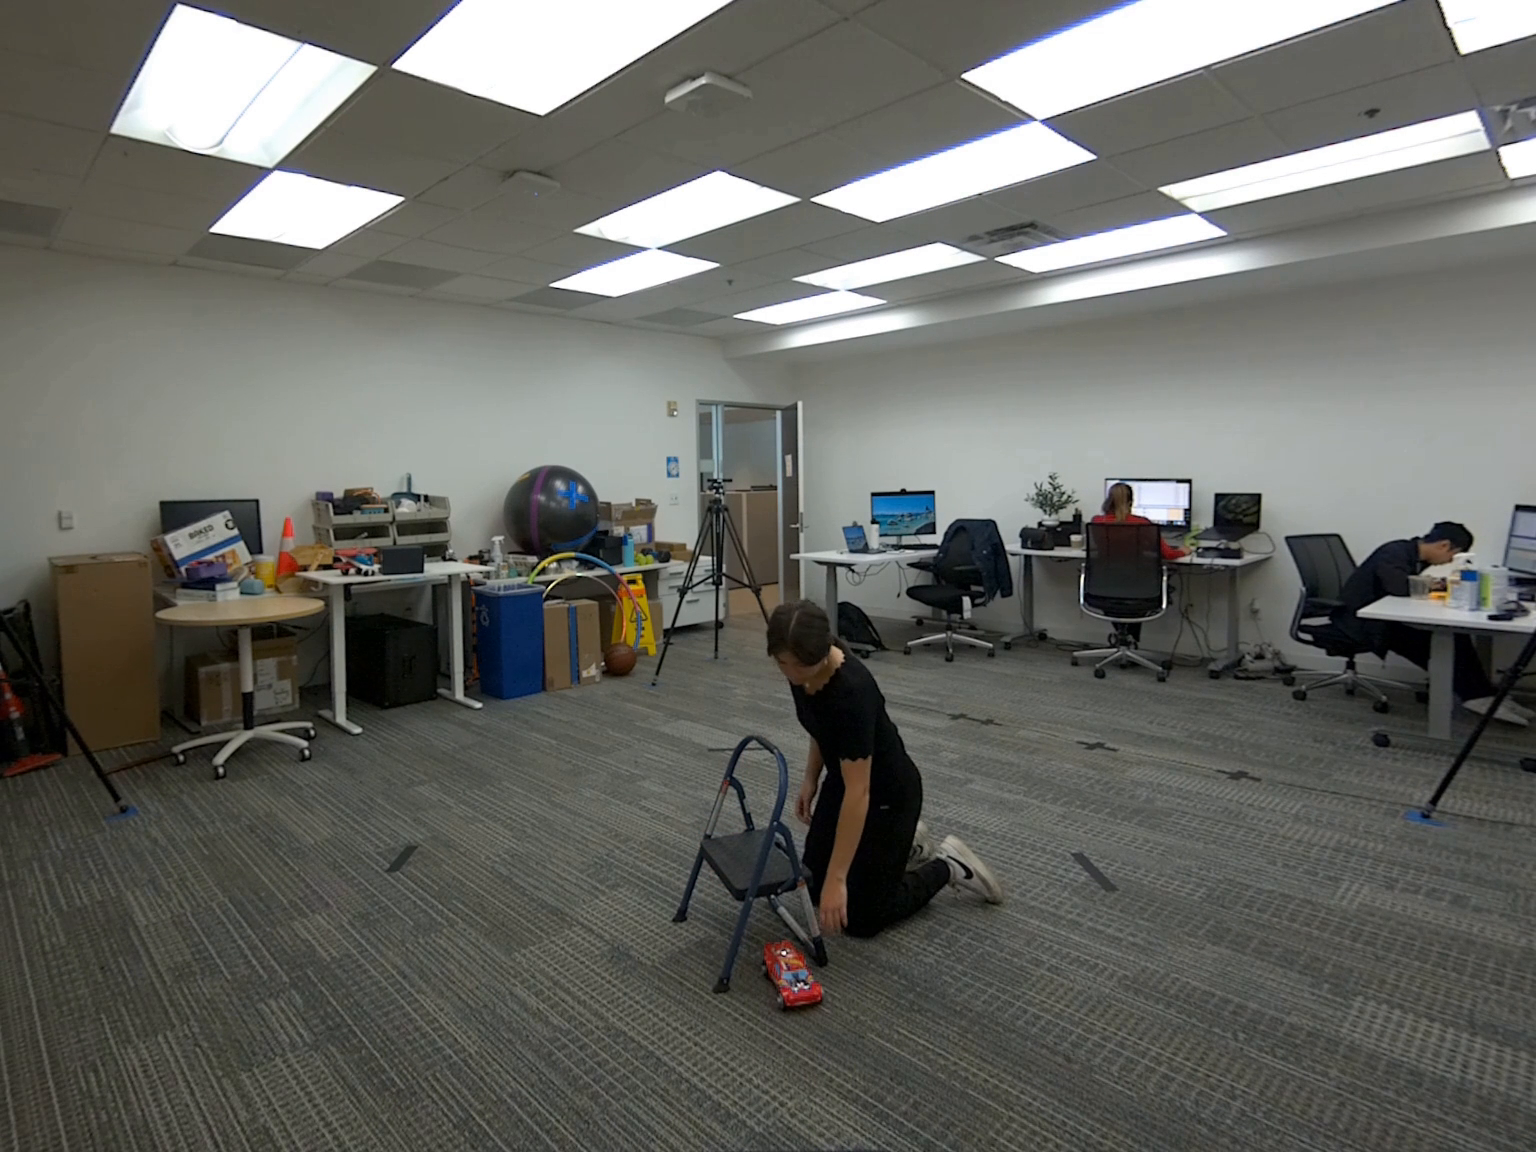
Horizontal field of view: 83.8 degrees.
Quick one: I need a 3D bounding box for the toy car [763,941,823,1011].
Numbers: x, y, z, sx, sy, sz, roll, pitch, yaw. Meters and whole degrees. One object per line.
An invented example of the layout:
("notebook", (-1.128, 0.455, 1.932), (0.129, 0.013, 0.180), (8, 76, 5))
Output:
("toy car", (0.066, 1.105, 2.348), (0.128, 0.082, 0.261), (-3, 17, -16))
